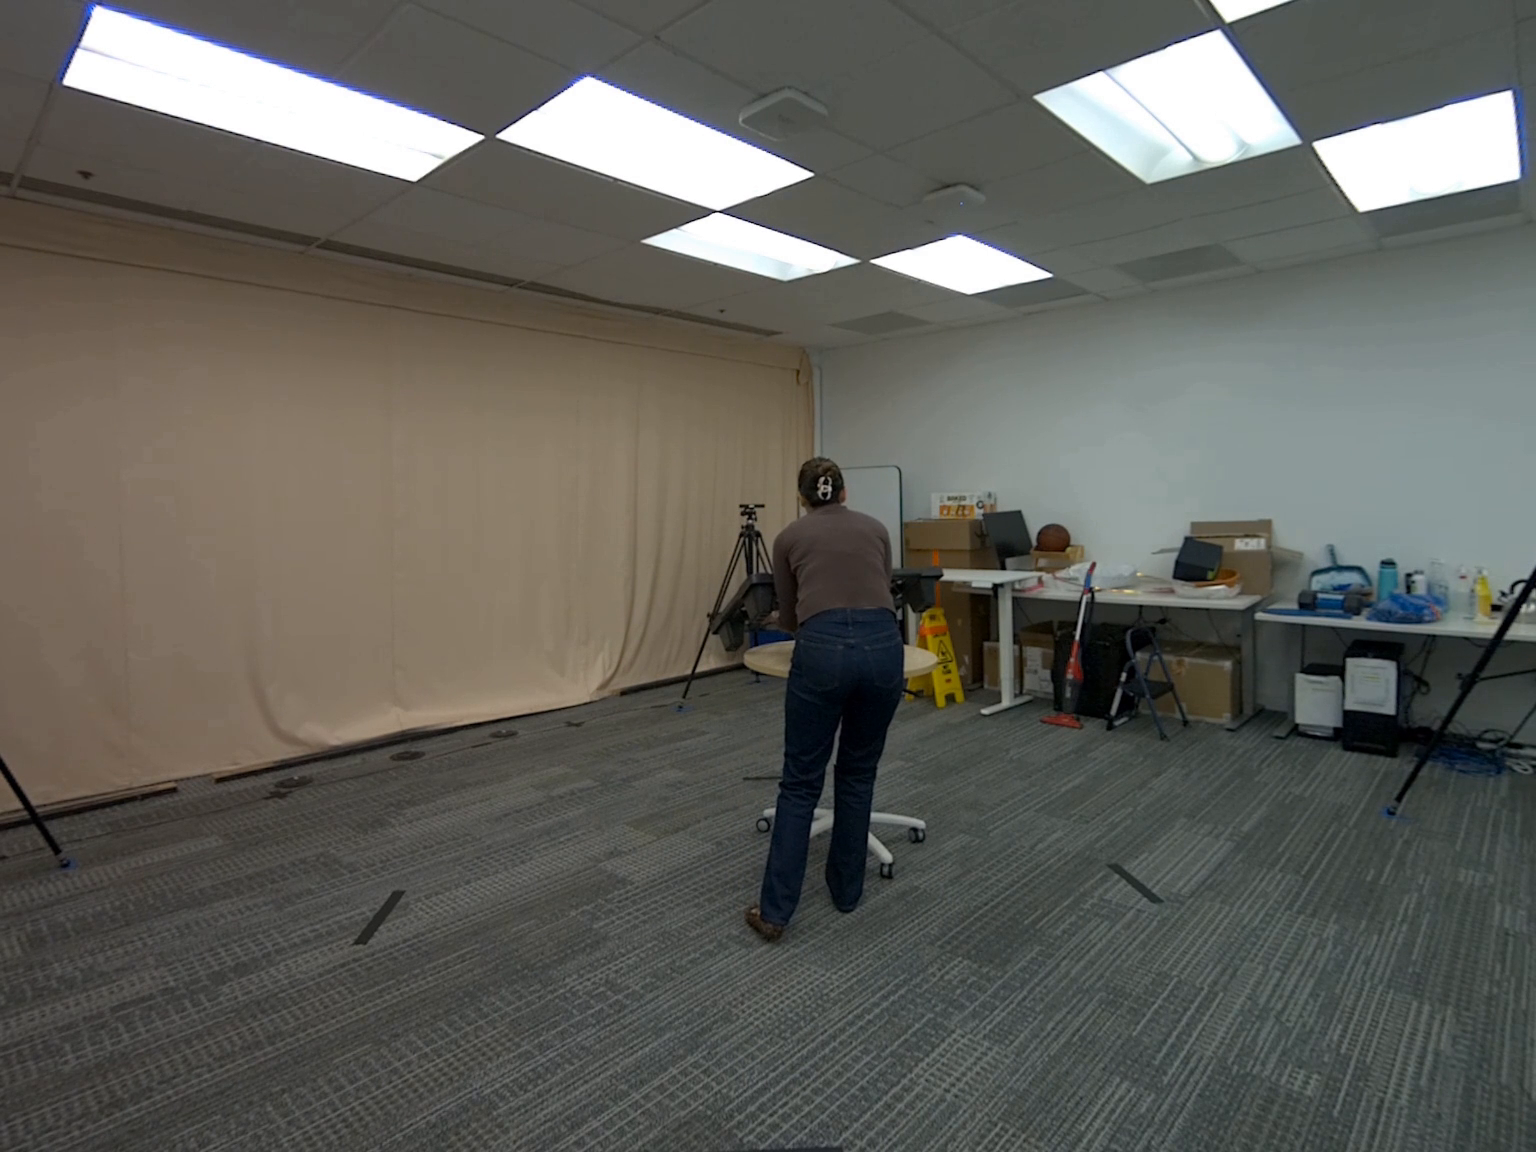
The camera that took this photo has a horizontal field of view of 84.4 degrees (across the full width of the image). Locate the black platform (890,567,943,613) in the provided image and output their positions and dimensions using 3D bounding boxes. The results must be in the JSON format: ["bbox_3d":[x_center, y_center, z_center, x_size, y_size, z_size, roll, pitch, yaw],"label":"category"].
[{"bbox_3d":[0.222,0.151,3.391,0.791,0.145,0.606,-1,-22,-18],"label":"black platform"}]
